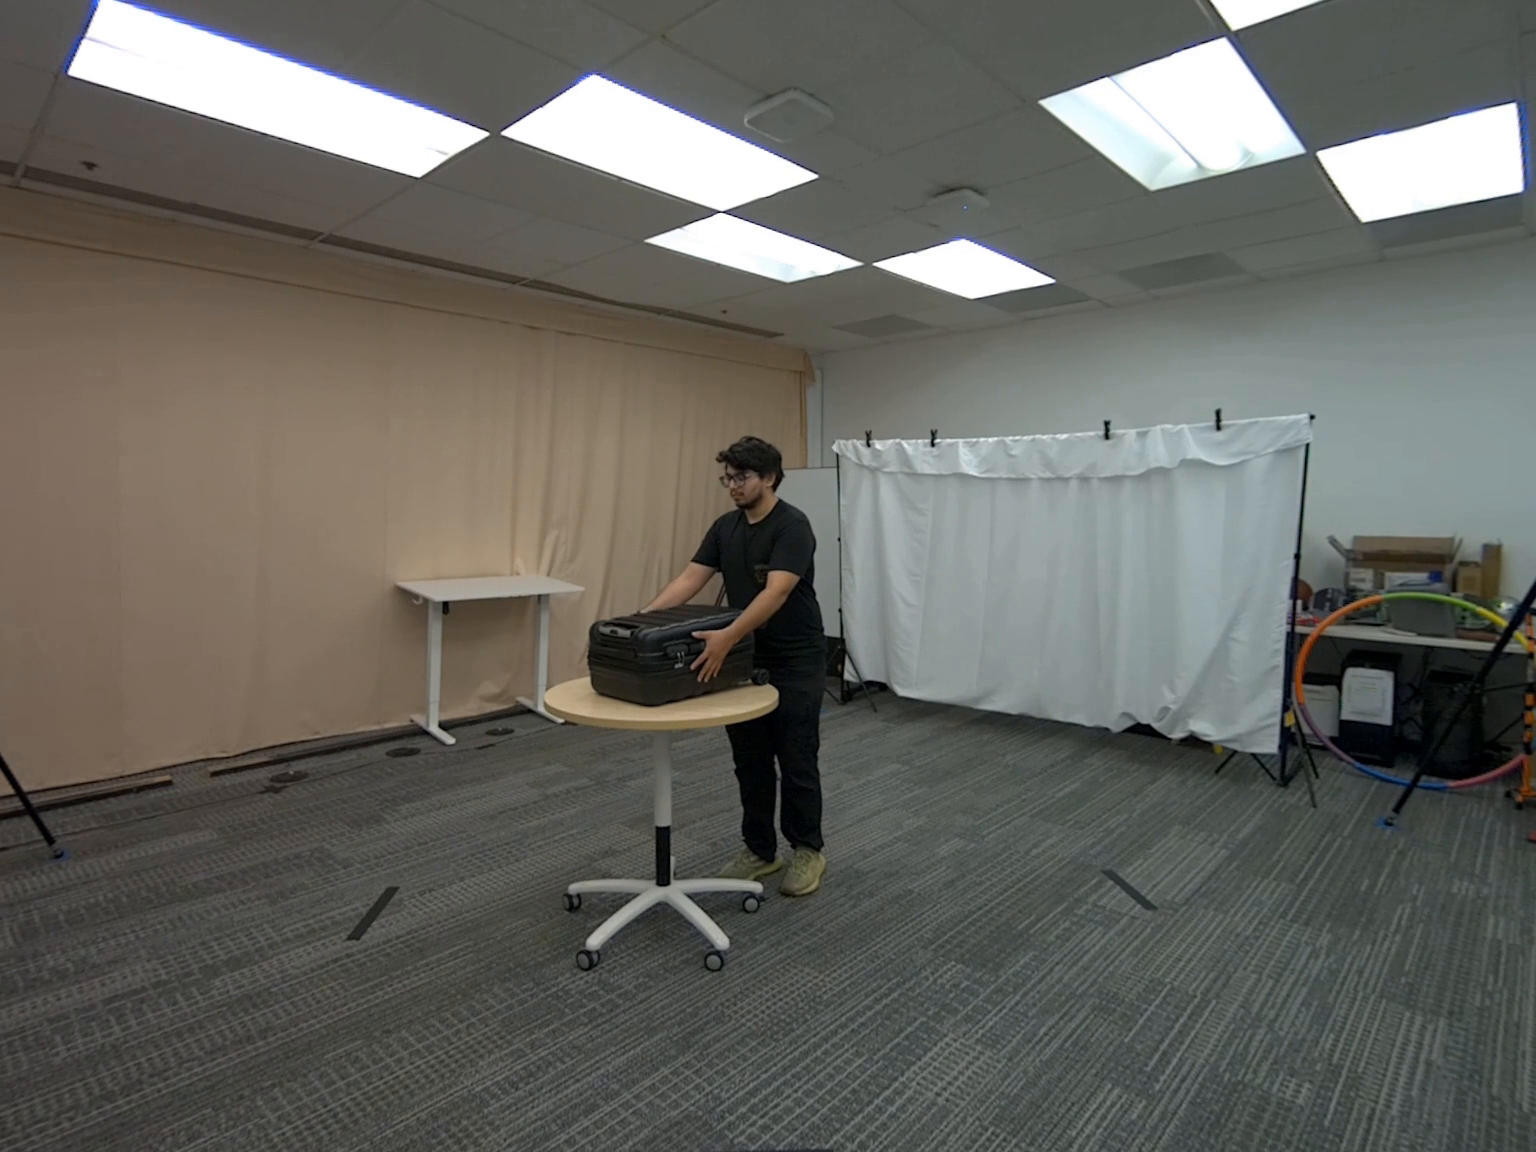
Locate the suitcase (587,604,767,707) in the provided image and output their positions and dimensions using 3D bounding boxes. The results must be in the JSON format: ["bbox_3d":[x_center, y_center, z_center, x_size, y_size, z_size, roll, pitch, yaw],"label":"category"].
[{"bbox_3d":[-0.310,0.255,2.798,0.388,0.247,0.533,5,9,43],"label":"suitcase"}]
